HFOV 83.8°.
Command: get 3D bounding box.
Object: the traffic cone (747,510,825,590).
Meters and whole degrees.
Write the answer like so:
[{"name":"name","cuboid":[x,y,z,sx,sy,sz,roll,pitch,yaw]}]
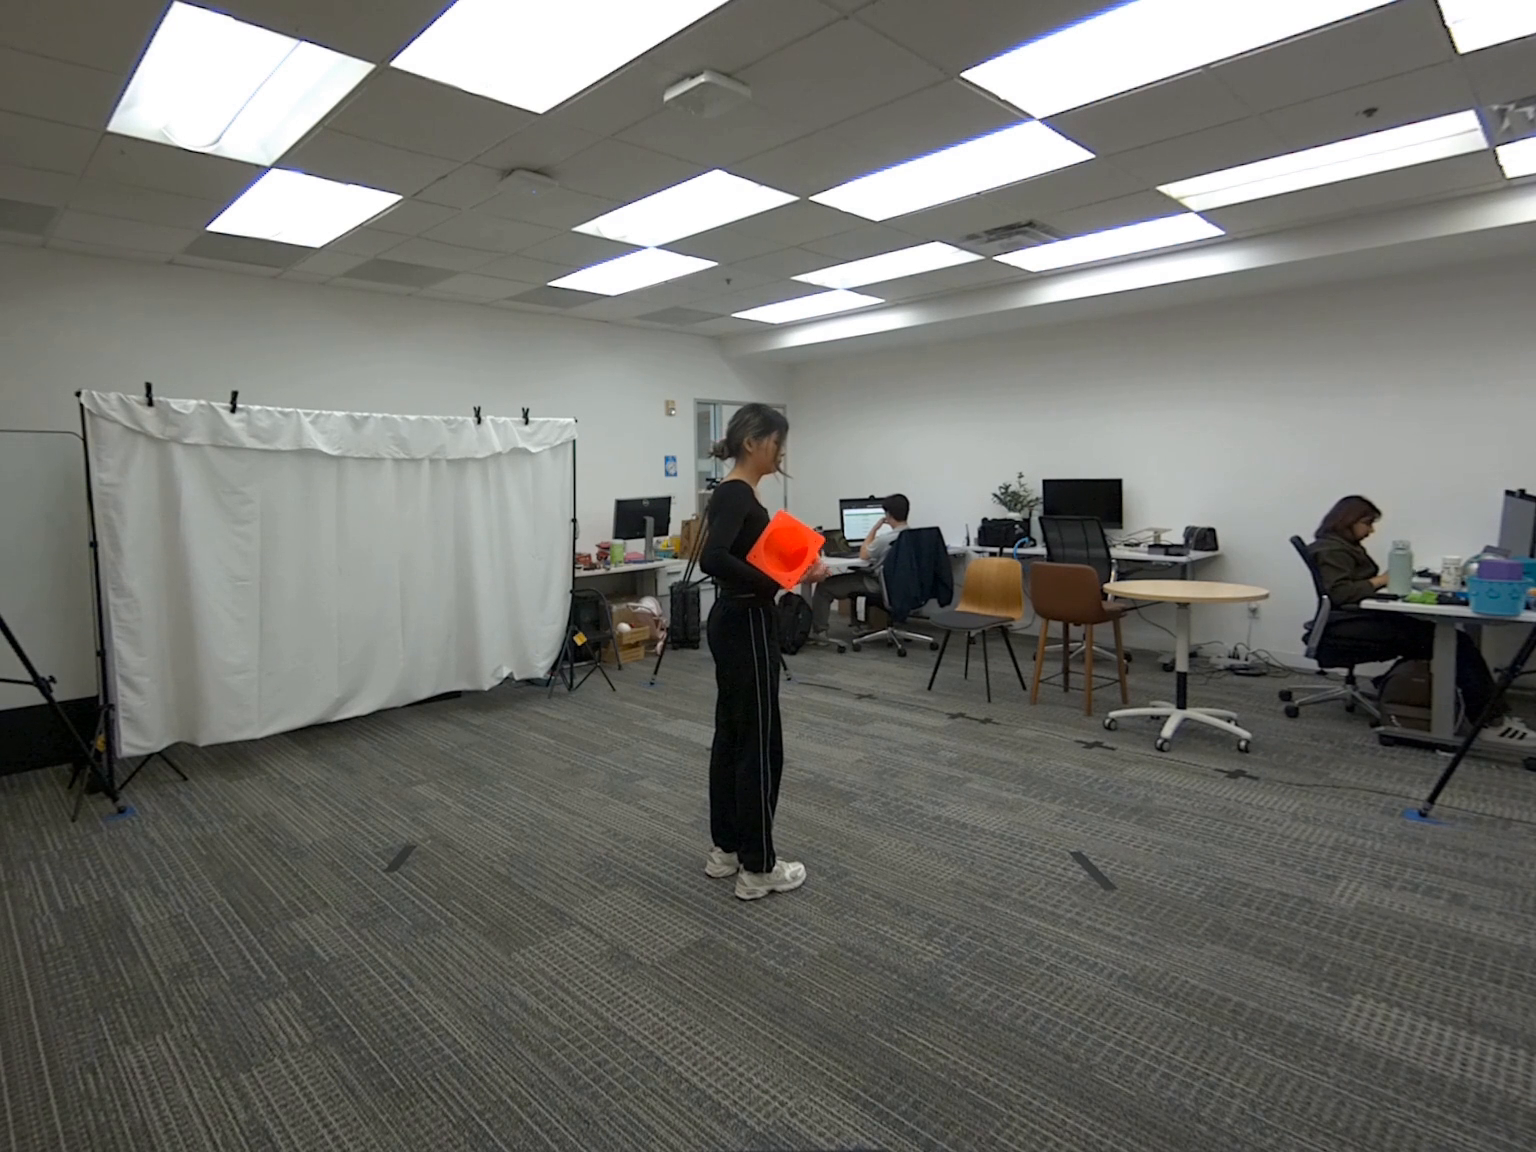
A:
[{"name":"traffic cone","cuboid":[0.123,-0.043,2.886,0.212,0.203,0.371,35,2,26]}]
